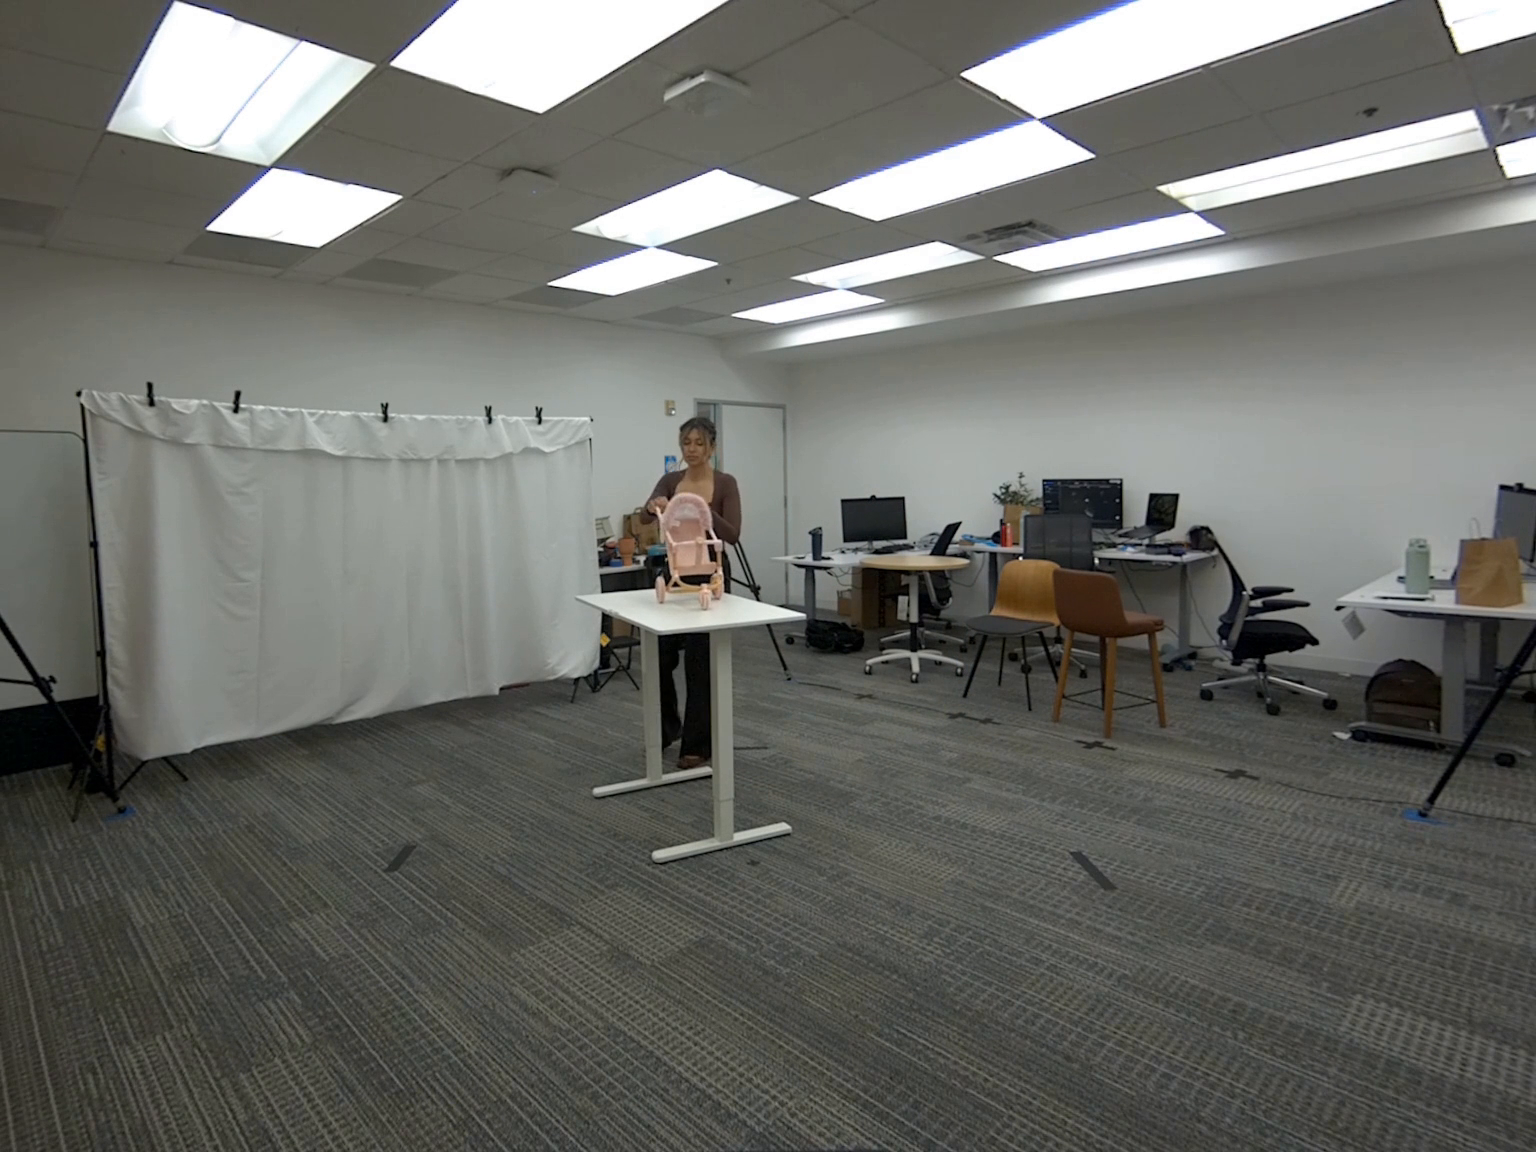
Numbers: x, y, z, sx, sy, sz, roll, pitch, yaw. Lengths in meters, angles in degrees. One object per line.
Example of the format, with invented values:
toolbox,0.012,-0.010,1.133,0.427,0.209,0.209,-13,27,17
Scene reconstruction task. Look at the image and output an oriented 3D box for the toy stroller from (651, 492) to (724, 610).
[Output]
toy stroller,-0.328,-0.105,3.553,0.278,0.541,0.342,-3,-11,-15
